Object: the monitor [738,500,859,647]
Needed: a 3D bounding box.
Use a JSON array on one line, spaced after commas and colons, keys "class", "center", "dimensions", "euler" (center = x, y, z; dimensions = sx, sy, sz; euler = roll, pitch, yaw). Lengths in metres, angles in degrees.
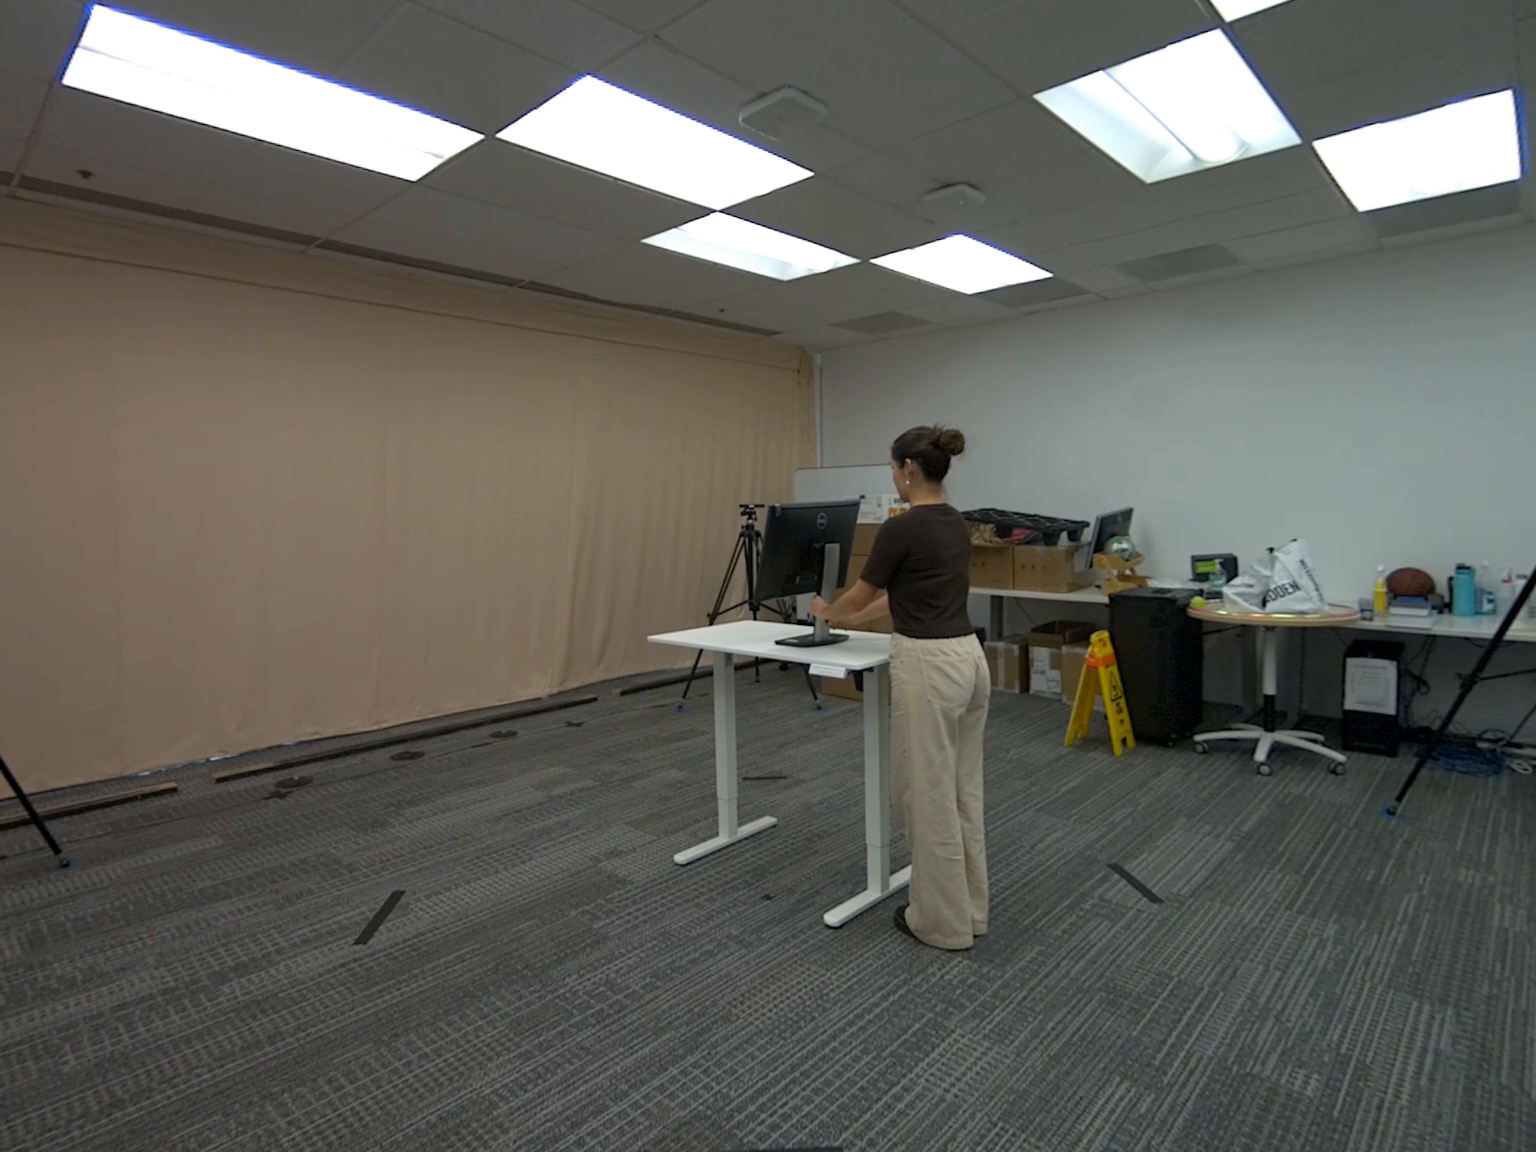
[{"class": "monitor", "center": [0.177, -0.013, 3.091], "dimensions": [0.180, 0.515, 0.514], "euler": [-2, 3, 41]}]
